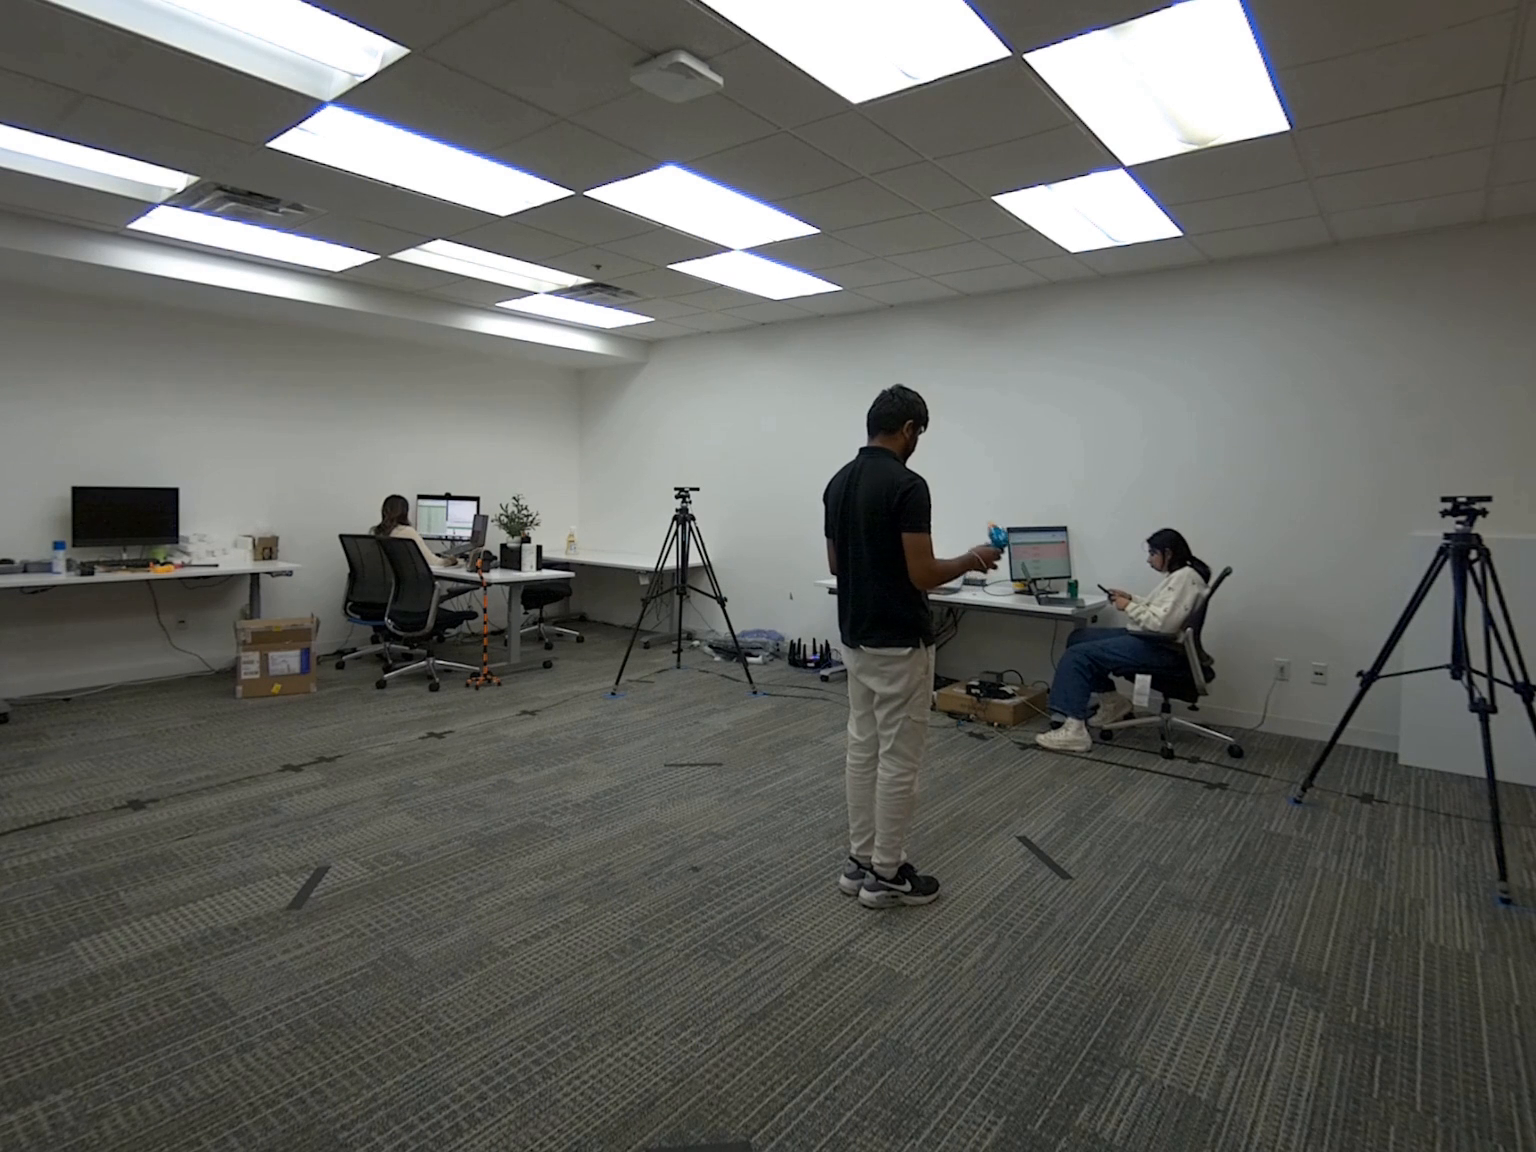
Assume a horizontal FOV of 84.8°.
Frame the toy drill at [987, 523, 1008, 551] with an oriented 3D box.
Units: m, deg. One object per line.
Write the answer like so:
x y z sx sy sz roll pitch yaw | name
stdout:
0.756 -0.108 2.974 0.060 0.144 0.174 17 28 -15 | toy drill
